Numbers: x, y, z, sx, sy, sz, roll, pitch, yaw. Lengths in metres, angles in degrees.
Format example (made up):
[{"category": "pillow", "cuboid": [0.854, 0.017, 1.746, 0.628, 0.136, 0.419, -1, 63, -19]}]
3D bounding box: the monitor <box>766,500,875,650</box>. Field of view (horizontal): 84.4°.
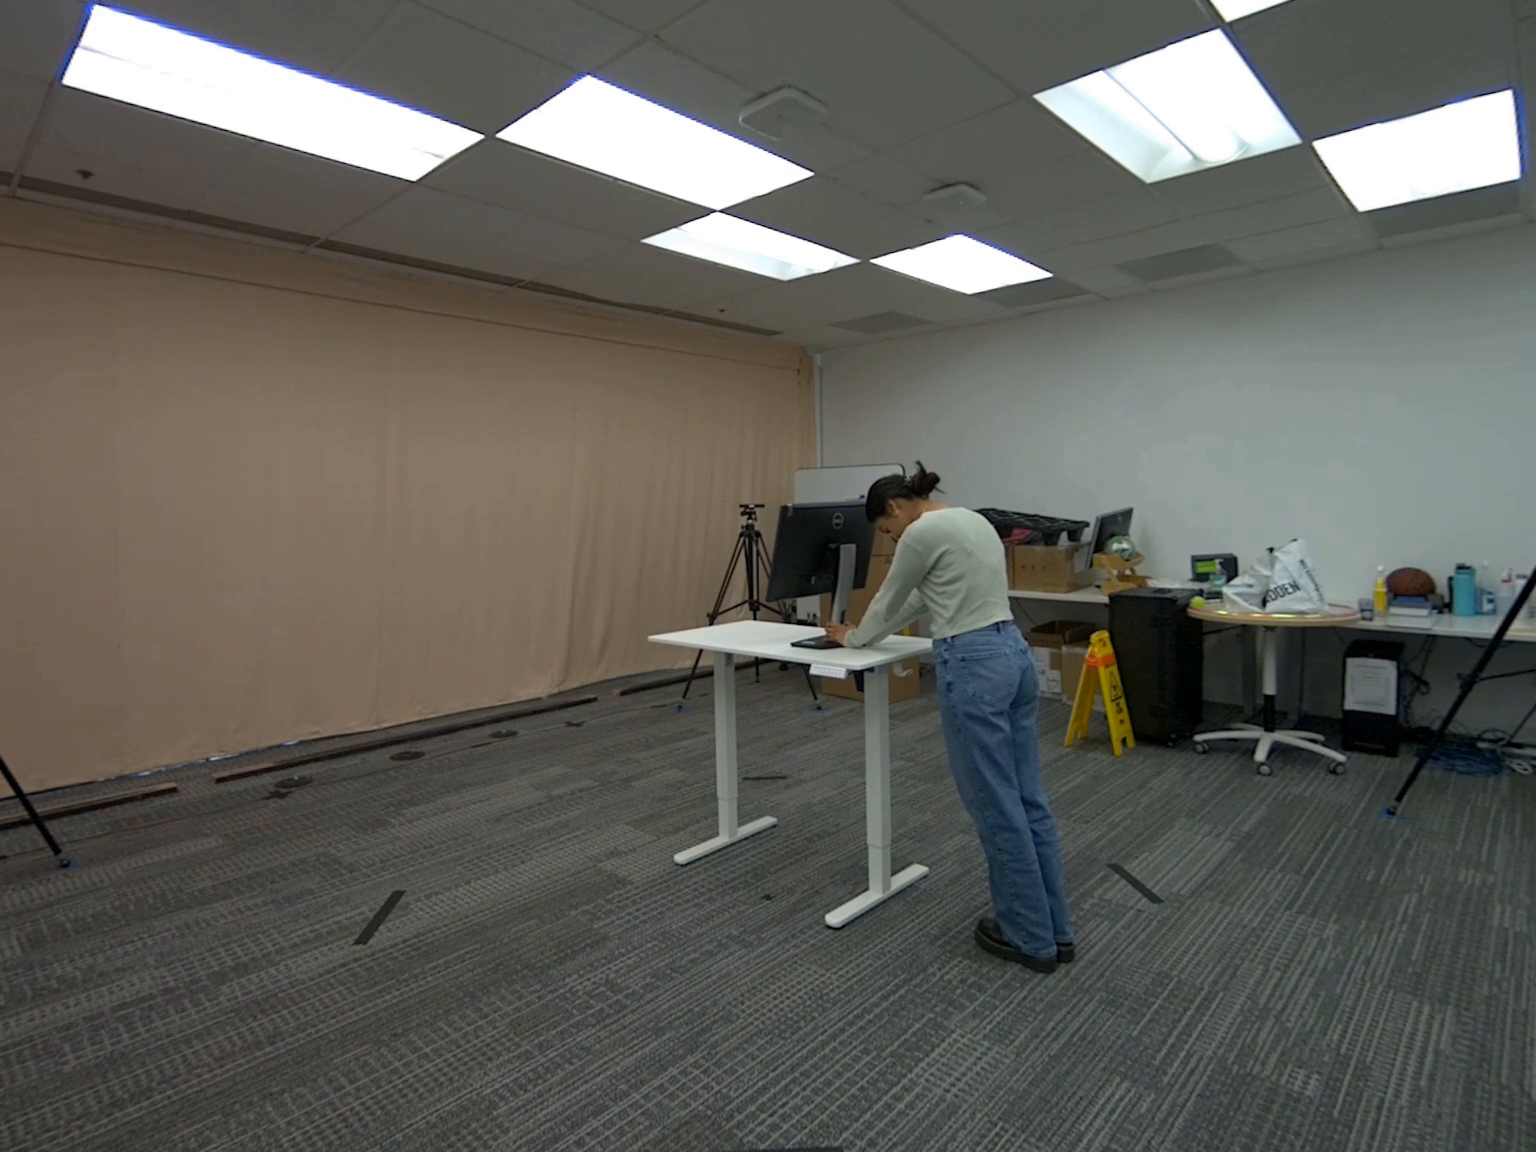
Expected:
[{"category": "monitor", "cuboid": [0.227, -0.009, 3.050, 0.523, 0.521, 0.193, -5, 5, -42]}]
